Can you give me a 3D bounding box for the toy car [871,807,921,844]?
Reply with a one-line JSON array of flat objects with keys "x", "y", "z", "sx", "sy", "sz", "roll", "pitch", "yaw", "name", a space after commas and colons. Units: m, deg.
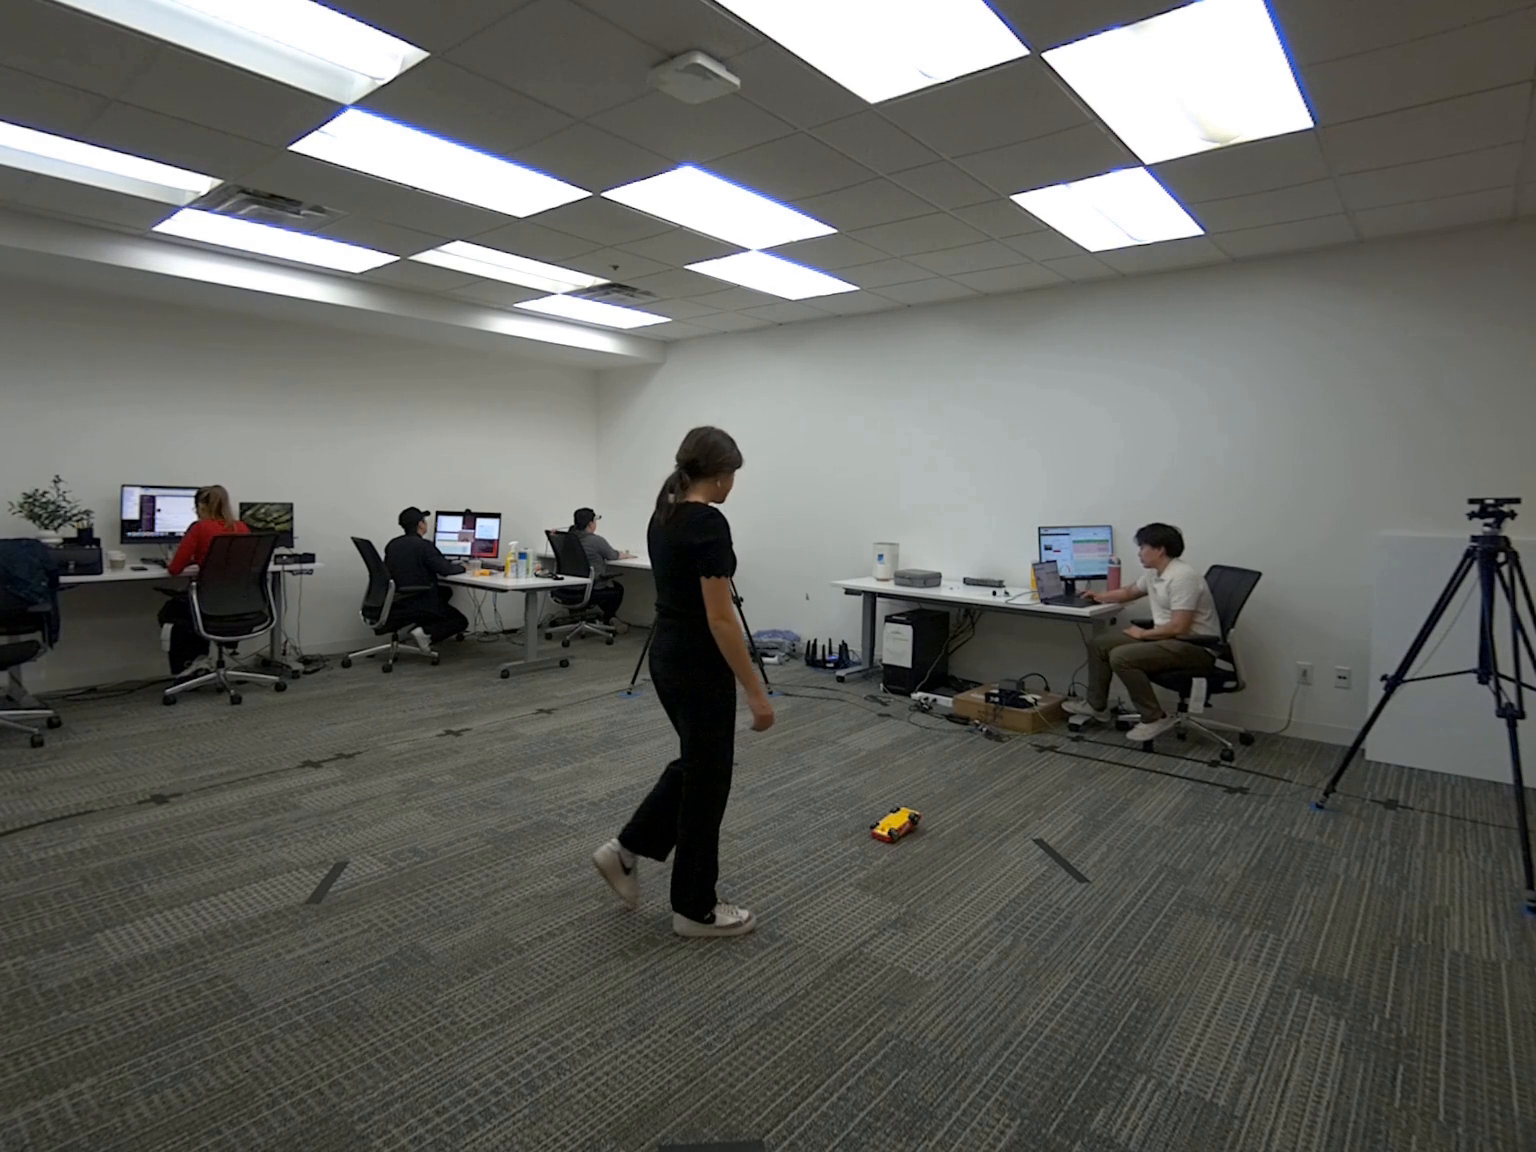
[{"x": 0.523, "y": 1.006, "z": 3.478, "sx": 0.135, "sy": 0.083, "sz": 0.247, "roll": 5, "pitch": 6, "yaw": 44, "name": "toy car"}]
